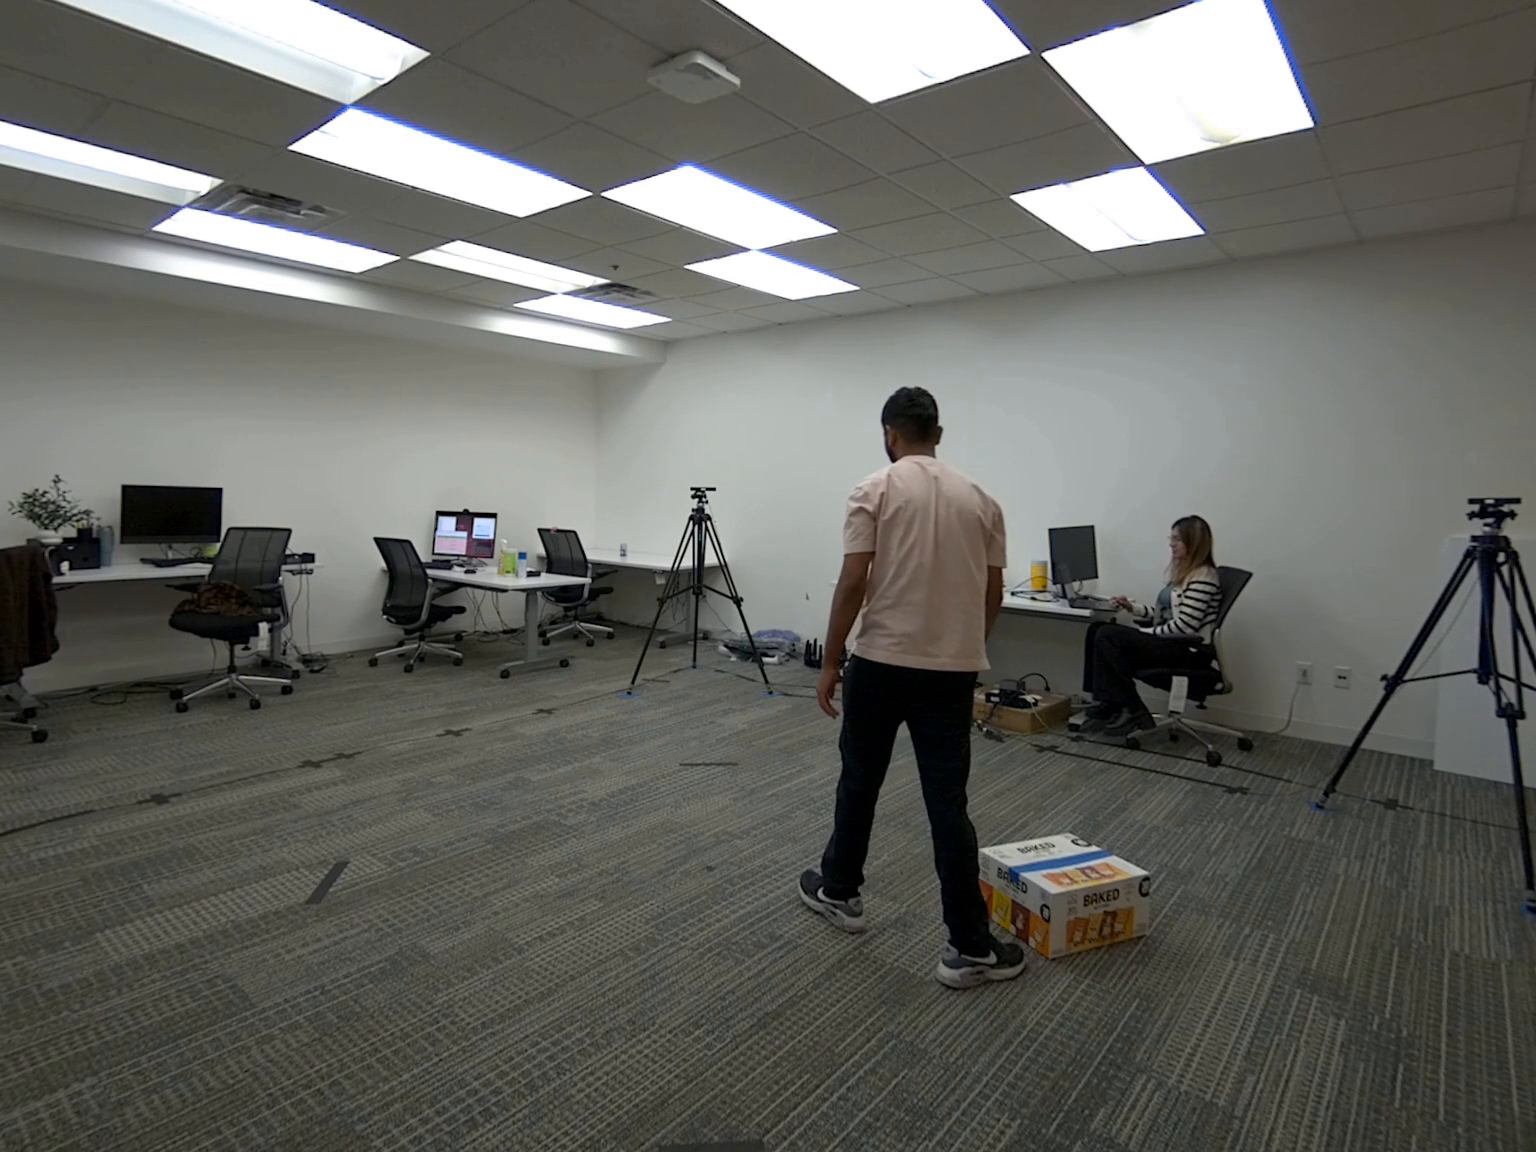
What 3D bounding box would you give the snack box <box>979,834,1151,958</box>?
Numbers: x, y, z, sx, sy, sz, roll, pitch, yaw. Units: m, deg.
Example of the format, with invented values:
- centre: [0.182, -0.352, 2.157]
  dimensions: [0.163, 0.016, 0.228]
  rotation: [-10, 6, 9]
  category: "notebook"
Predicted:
- centre: [0.961, 1.026, 2.780]
  dimensions: [0.396, 0.205, 0.349]
  rotation: [-2, 6, -23]
  category: "snack box"
